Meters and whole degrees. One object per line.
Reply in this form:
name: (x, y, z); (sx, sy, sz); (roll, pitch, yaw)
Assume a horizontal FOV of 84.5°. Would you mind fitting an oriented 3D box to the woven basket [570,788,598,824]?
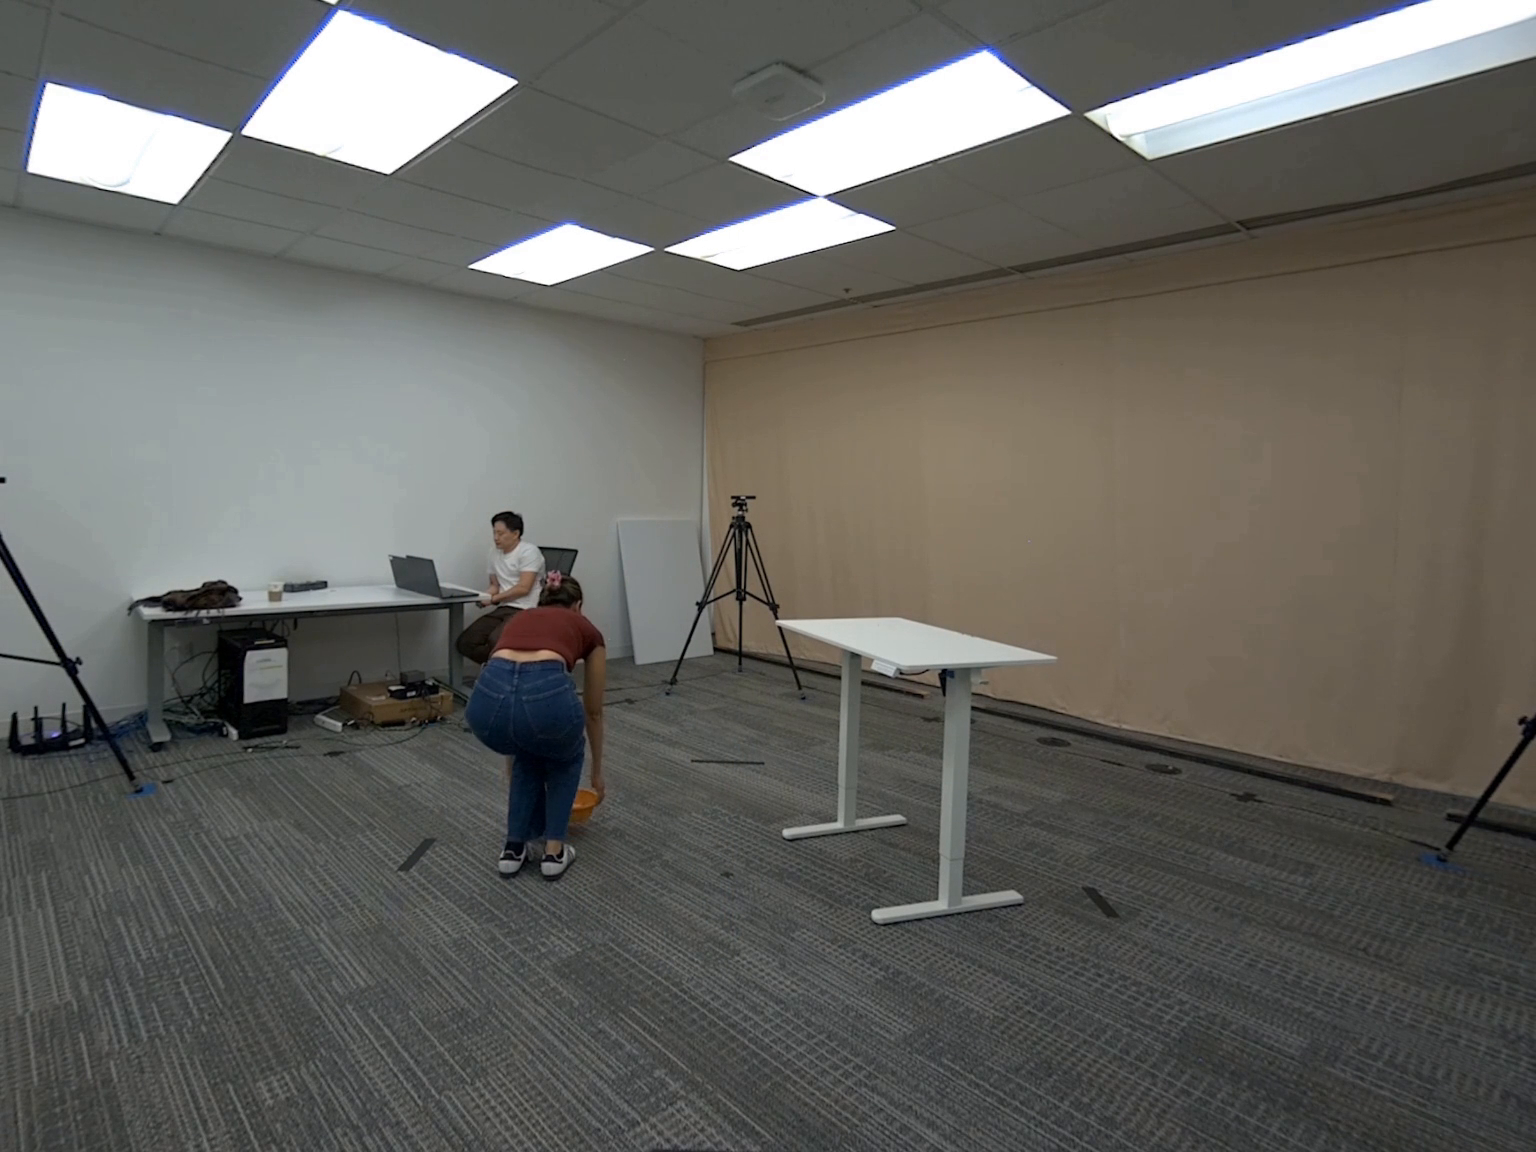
woven basket: (-0.874, 0.940, 3.456); (0.348, 0.073, 0.255); (1, 6, -9)
